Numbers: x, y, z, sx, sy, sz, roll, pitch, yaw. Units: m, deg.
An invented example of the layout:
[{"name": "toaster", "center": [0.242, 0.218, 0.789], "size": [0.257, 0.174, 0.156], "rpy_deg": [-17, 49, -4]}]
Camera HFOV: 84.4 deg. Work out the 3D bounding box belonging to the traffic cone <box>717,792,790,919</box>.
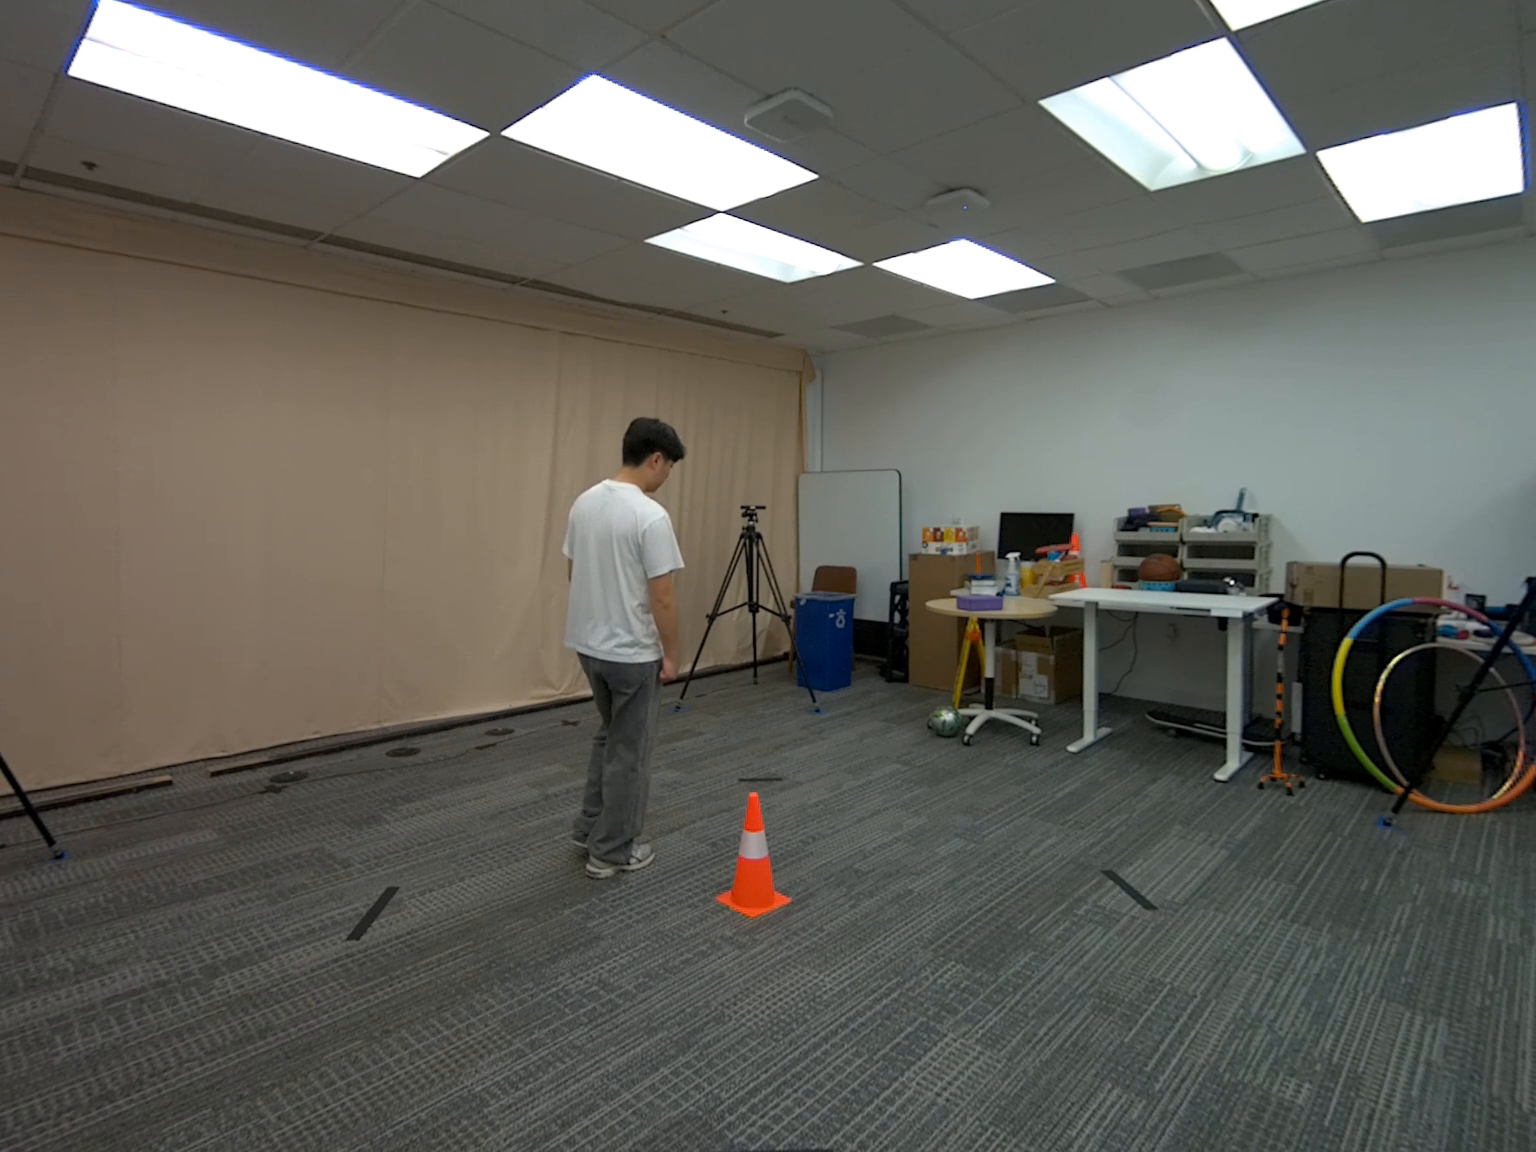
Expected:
[{"name": "traffic cone", "center": [-0.040, 0.961, 2.964], "size": [0.210, 0.383, 0.198], "rpy_deg": [5, 6, 44]}]
